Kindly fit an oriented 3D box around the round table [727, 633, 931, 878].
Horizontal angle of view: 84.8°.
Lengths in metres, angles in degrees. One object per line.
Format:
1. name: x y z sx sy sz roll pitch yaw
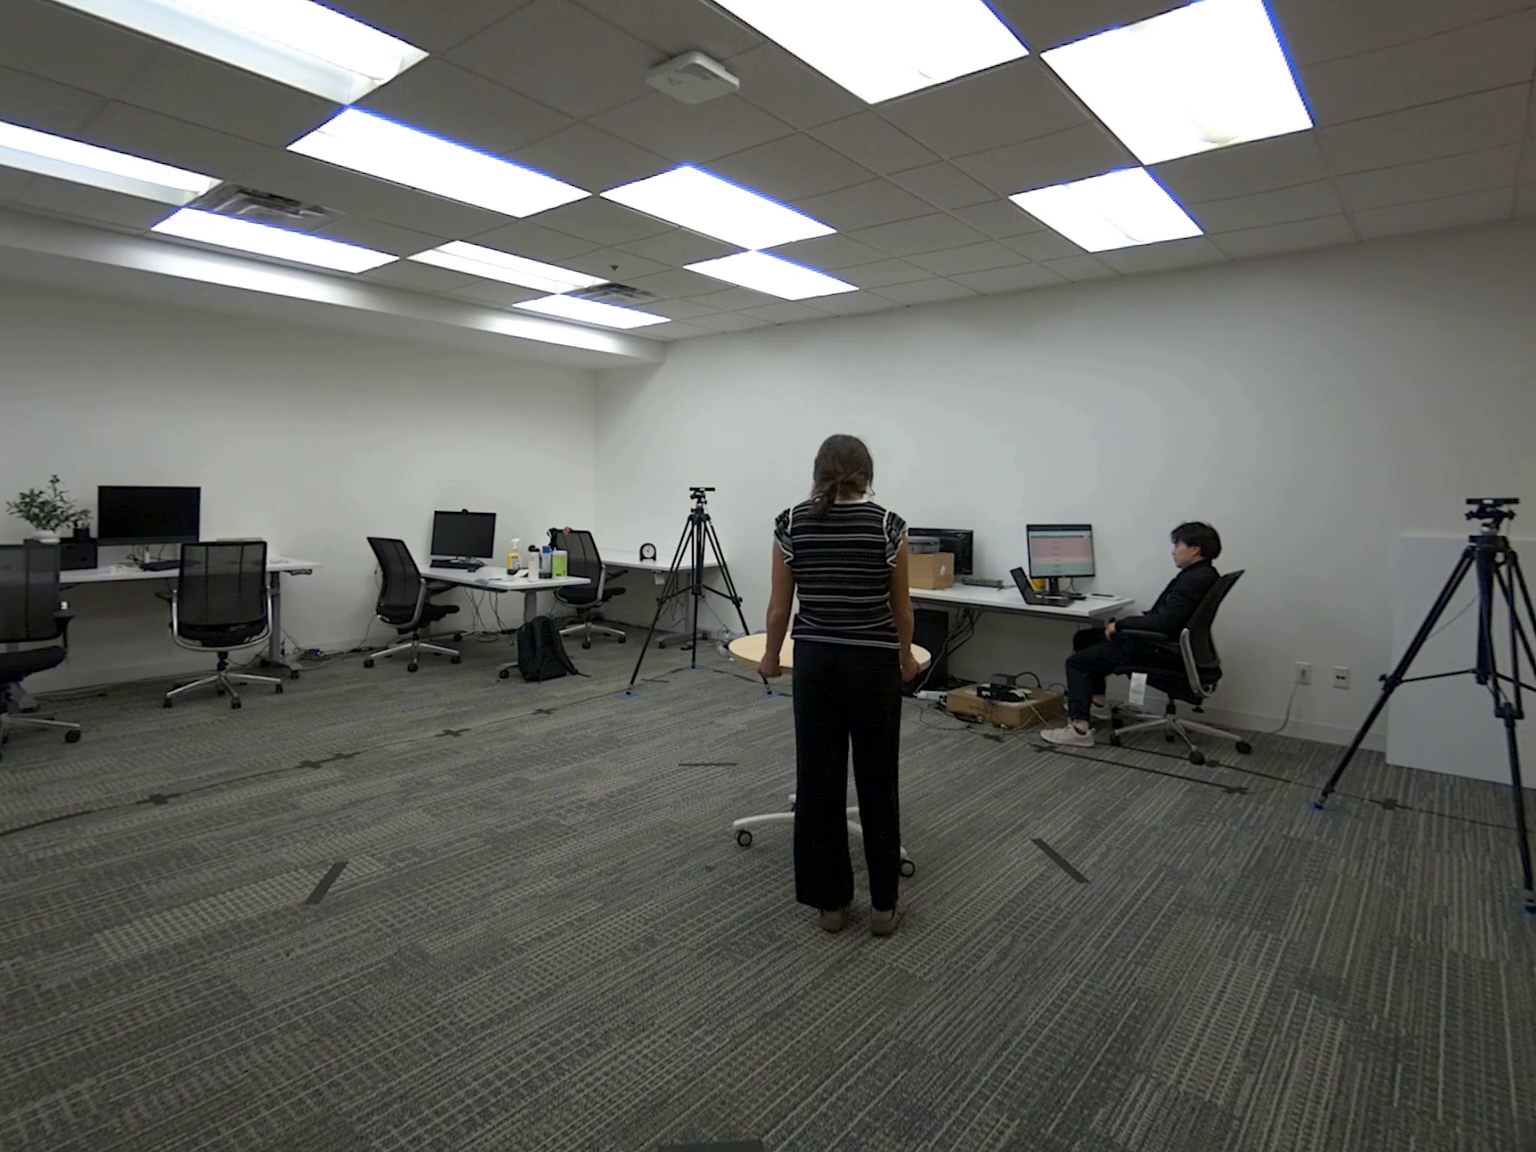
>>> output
1. round table: 0.213 0.665 3.294 0.763 0.791 0.768 1 5 -2
